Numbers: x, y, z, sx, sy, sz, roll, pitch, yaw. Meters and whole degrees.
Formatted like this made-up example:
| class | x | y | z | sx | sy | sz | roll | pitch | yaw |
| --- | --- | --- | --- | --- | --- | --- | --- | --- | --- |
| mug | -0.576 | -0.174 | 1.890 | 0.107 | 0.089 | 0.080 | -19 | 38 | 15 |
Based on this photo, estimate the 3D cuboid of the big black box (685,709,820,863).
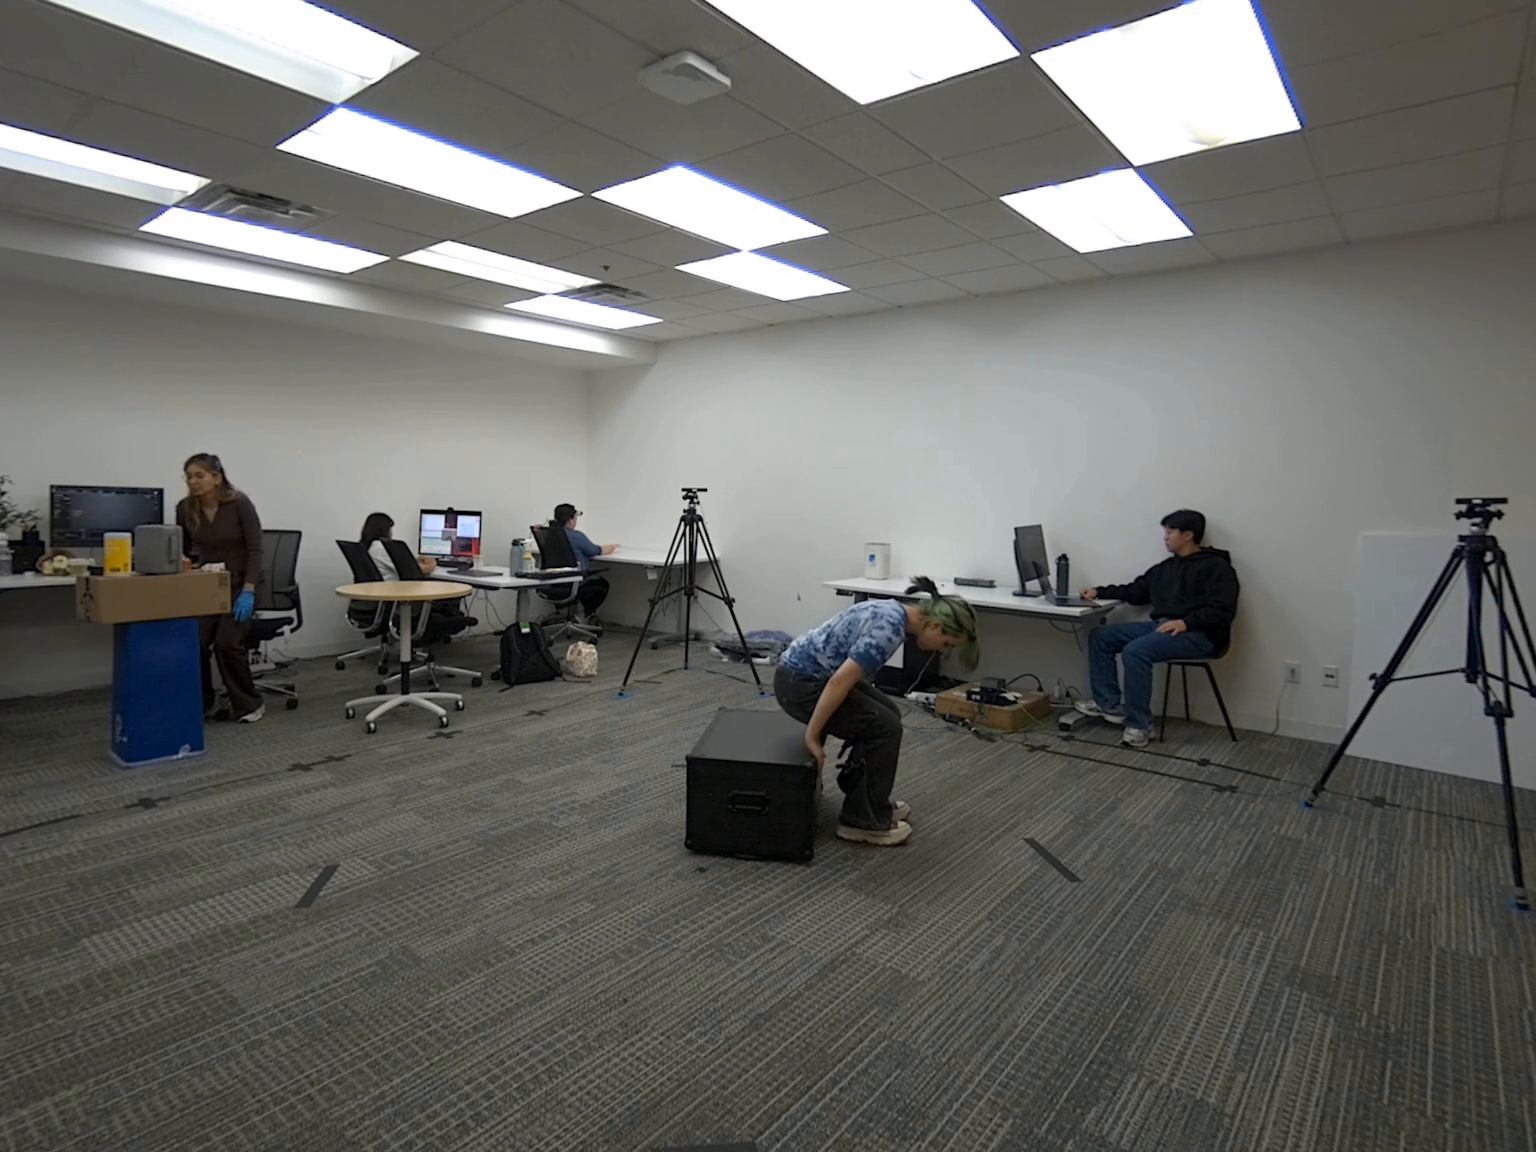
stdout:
| class | x | y | z | sx | sy | sz | roll | pitch | yaw |
| --- | --- | --- | --- | --- | --- | --- | --- | --- | --- |
| big black box | -0.036 | 0.832 | 3.586 | 0.526 | 0.394 | 0.858 | 1 | 6 | 7 |
